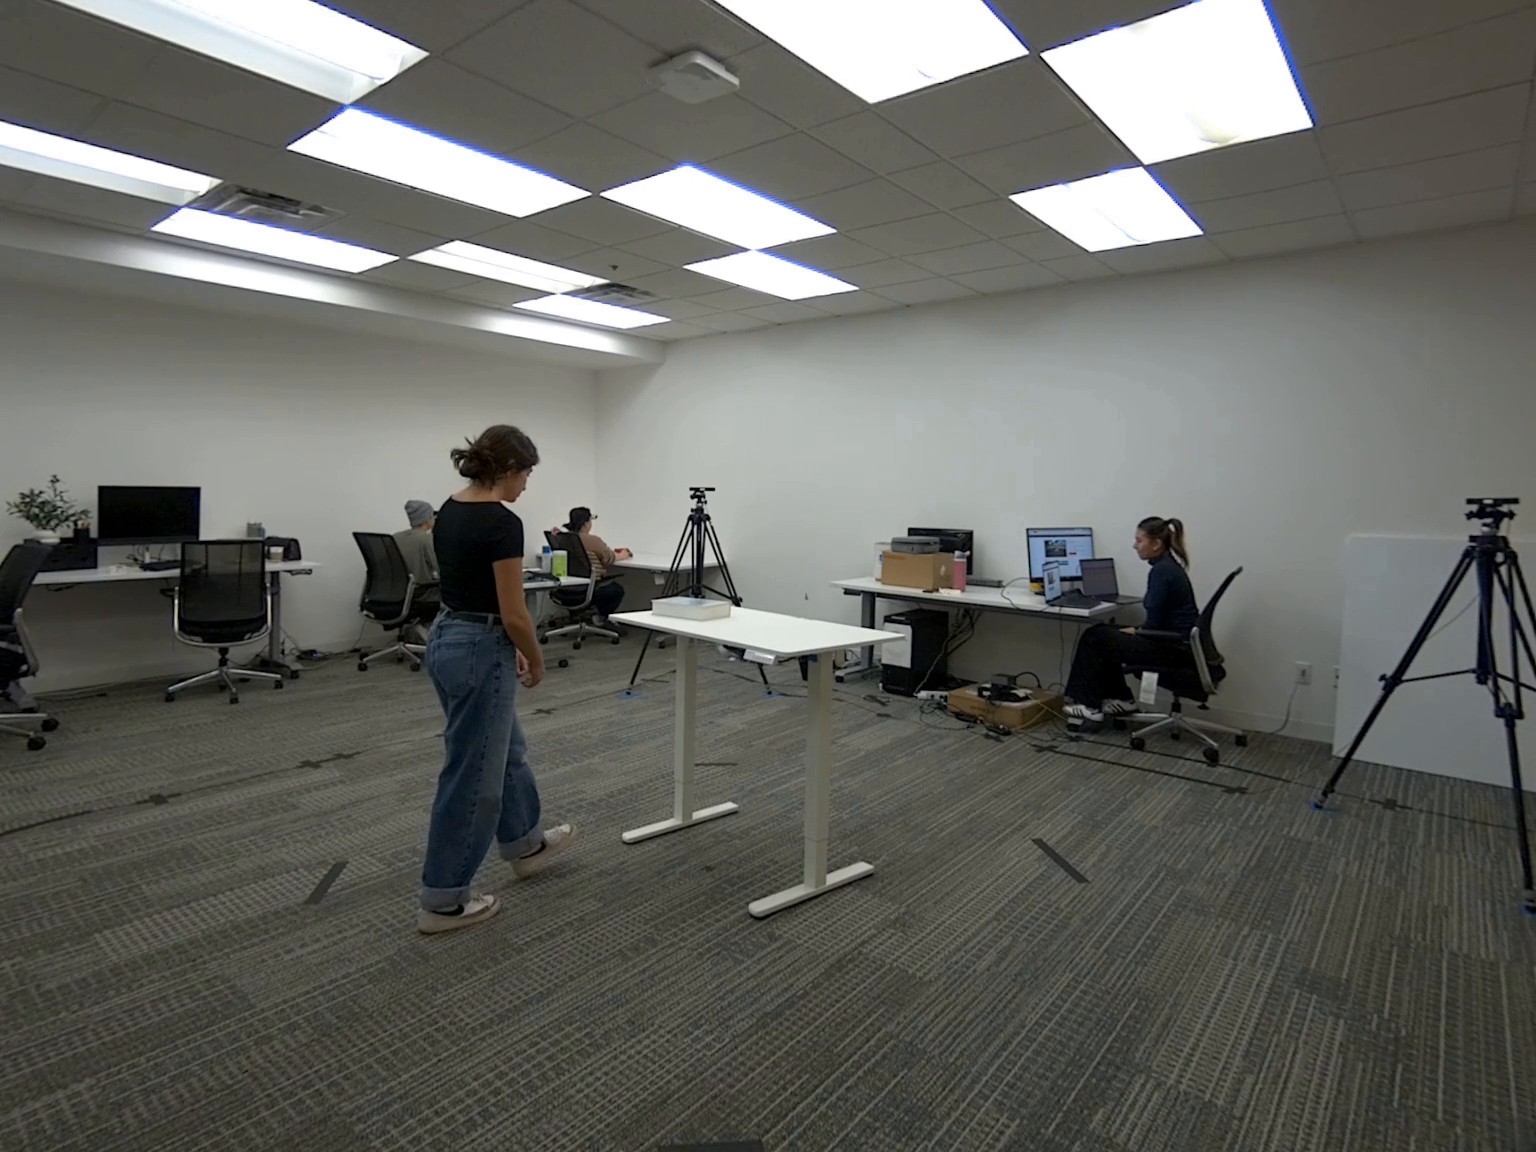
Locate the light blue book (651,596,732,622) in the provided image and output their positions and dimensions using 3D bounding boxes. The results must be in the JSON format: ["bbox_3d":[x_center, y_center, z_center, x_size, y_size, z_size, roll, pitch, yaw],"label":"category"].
[{"bbox_3d":[-0.319,0.127,3.408,0.269,0.059,0.186,5,6,36],"label":"light blue book"}]
